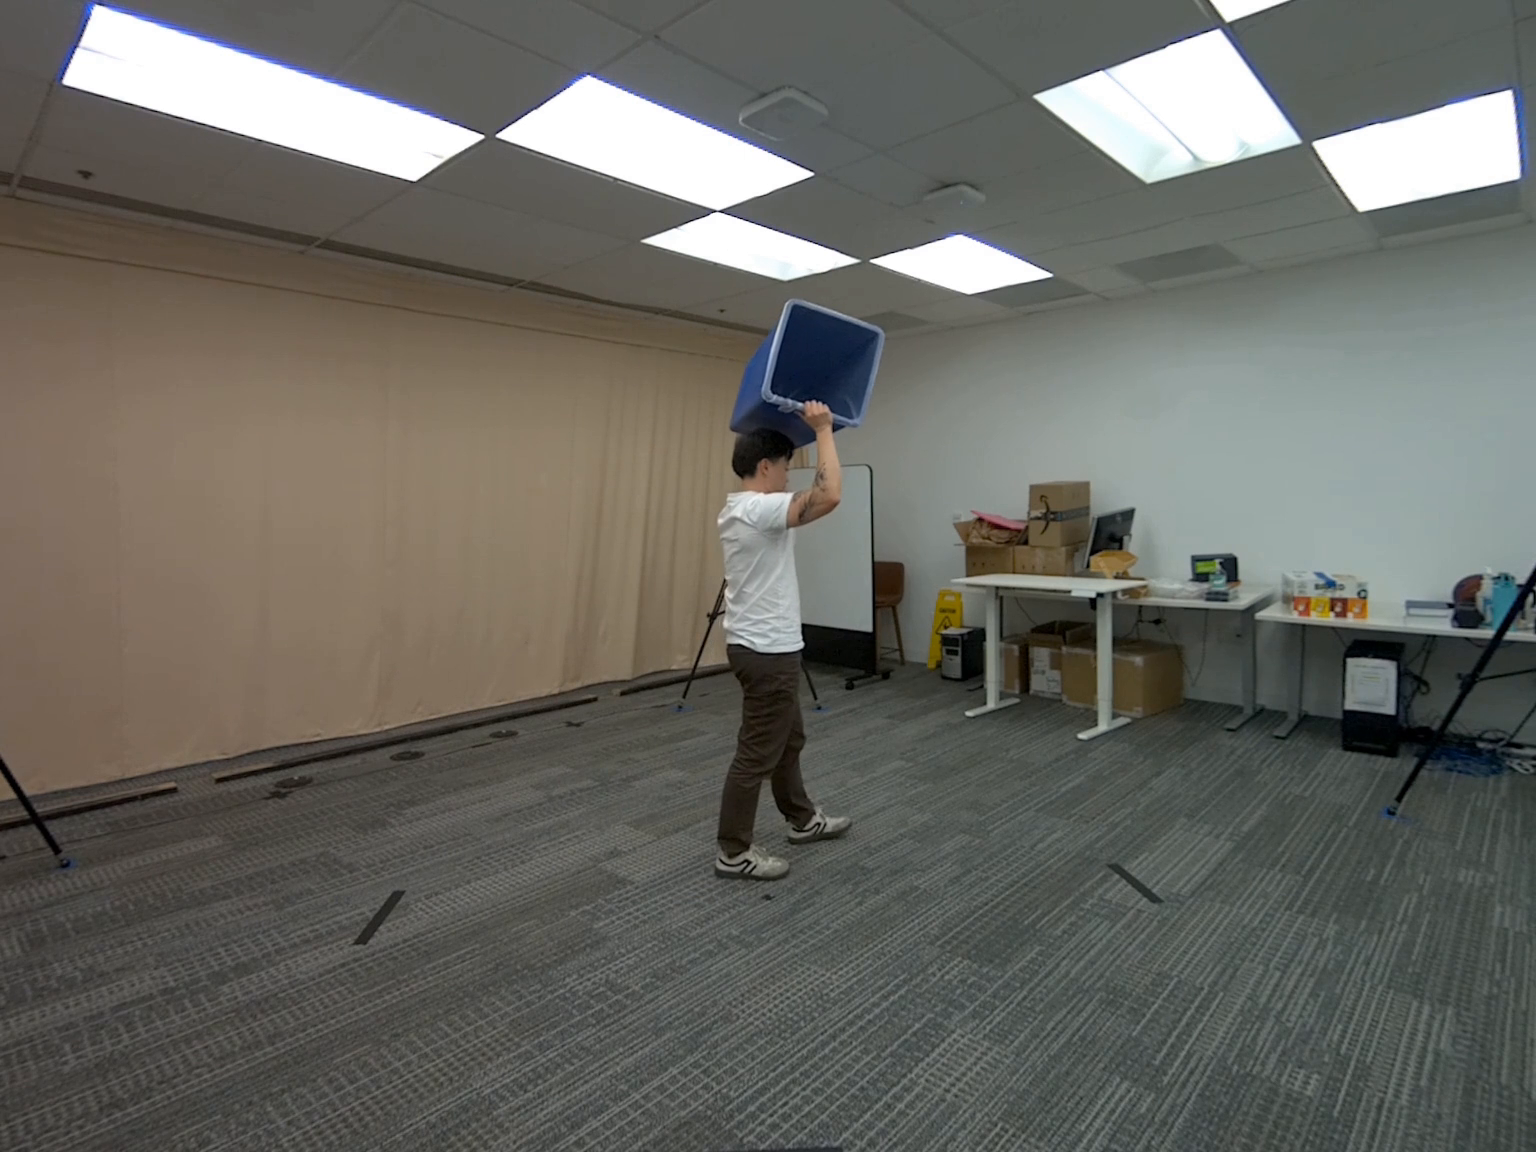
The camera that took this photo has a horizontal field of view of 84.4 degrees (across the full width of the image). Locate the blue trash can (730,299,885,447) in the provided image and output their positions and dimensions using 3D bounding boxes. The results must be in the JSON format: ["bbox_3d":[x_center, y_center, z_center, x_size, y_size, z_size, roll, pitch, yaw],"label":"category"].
[{"bbox_3d":[0.115,-0.727,3.234,0.369,0.379,0.722,16,-6,-13],"label":"blue trash can"}]
